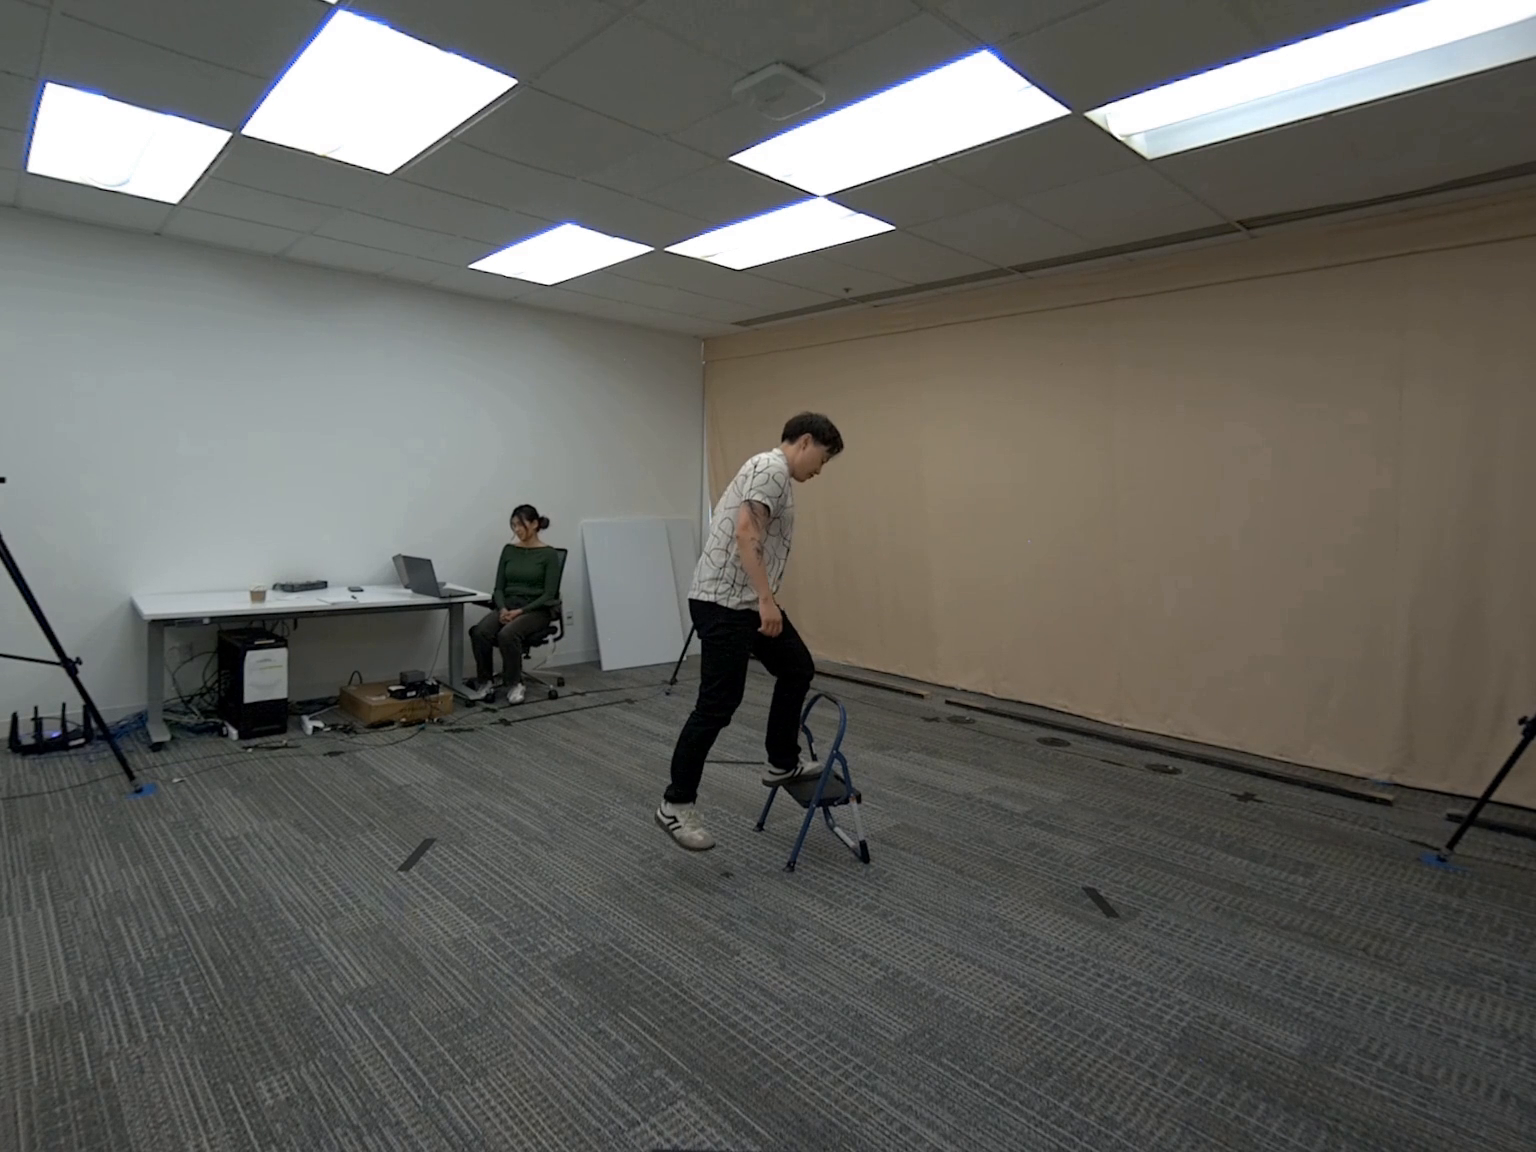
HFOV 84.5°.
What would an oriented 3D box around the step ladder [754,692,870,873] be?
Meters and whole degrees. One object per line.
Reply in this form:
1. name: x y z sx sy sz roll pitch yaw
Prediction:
1. step ladder: 0.171 0.784 3.366 0.345 0.605 0.437 1 3 -17
